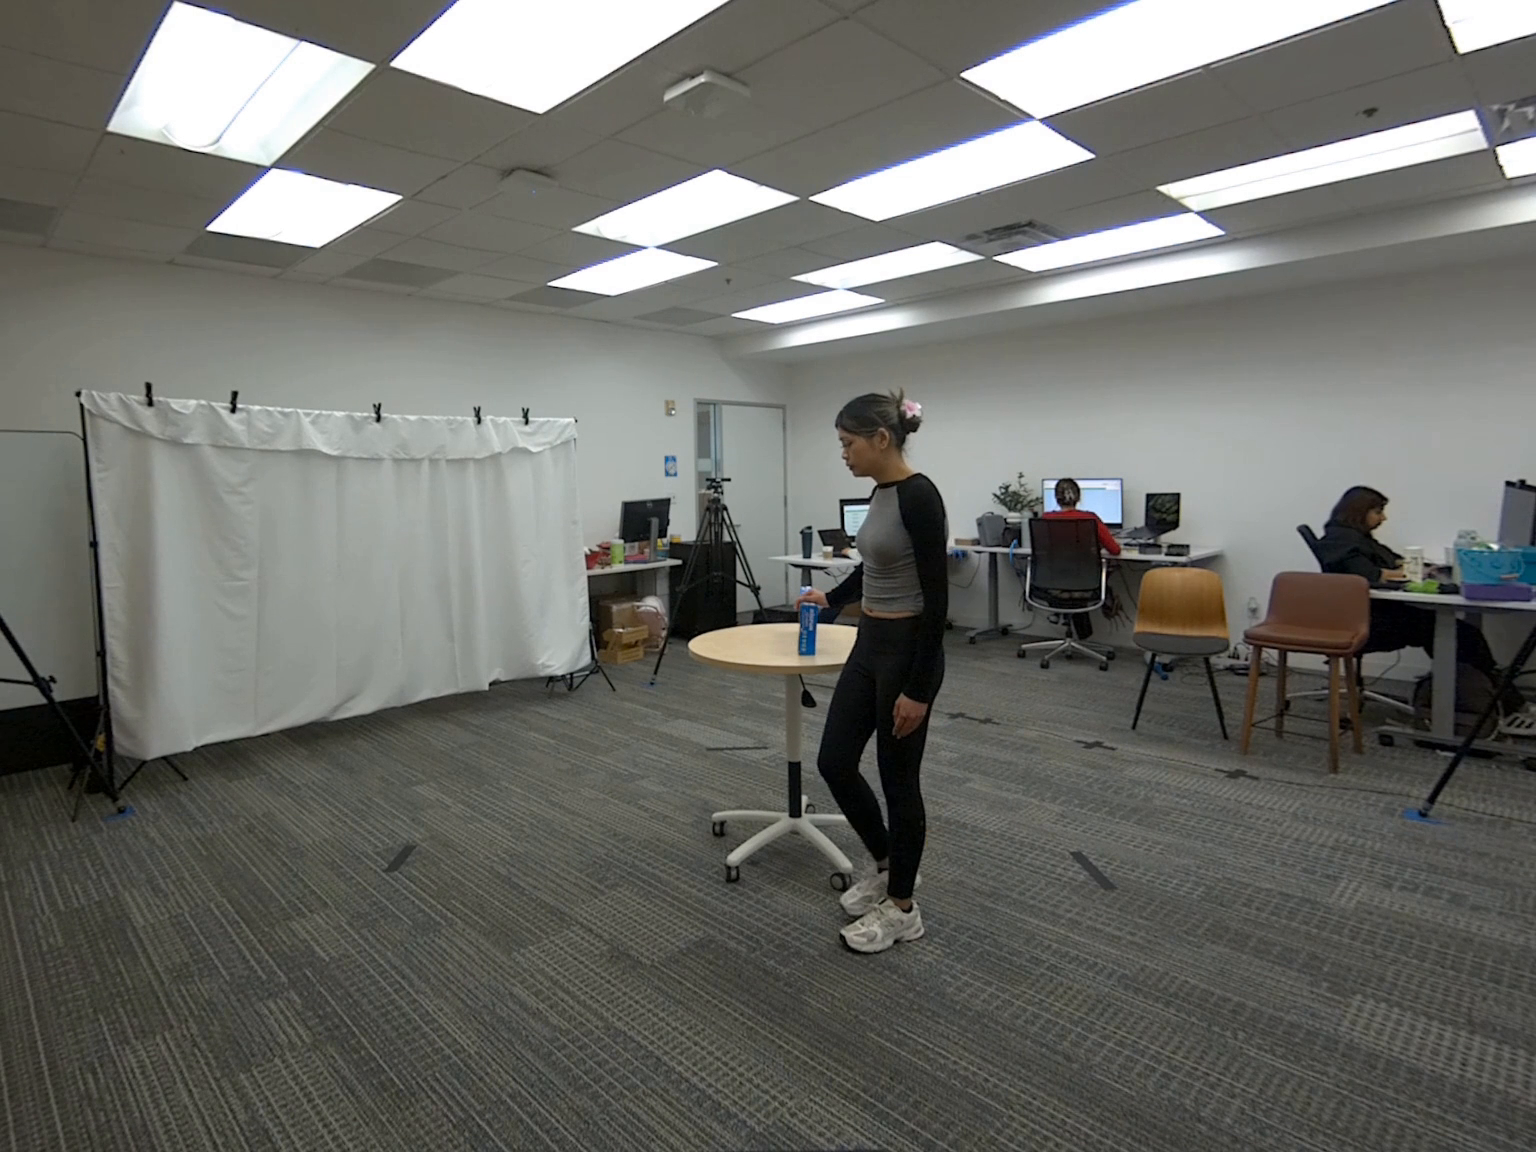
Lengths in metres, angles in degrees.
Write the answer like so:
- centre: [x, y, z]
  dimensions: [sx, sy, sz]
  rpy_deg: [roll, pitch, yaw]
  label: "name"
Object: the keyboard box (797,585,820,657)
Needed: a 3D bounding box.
- centre: [0.145, 0.153, 3.113]
  dimensions: [0.059, 0.175, 0.438]
  rpy_deg: [2, 6, 1]
  label: "keyboard box"
